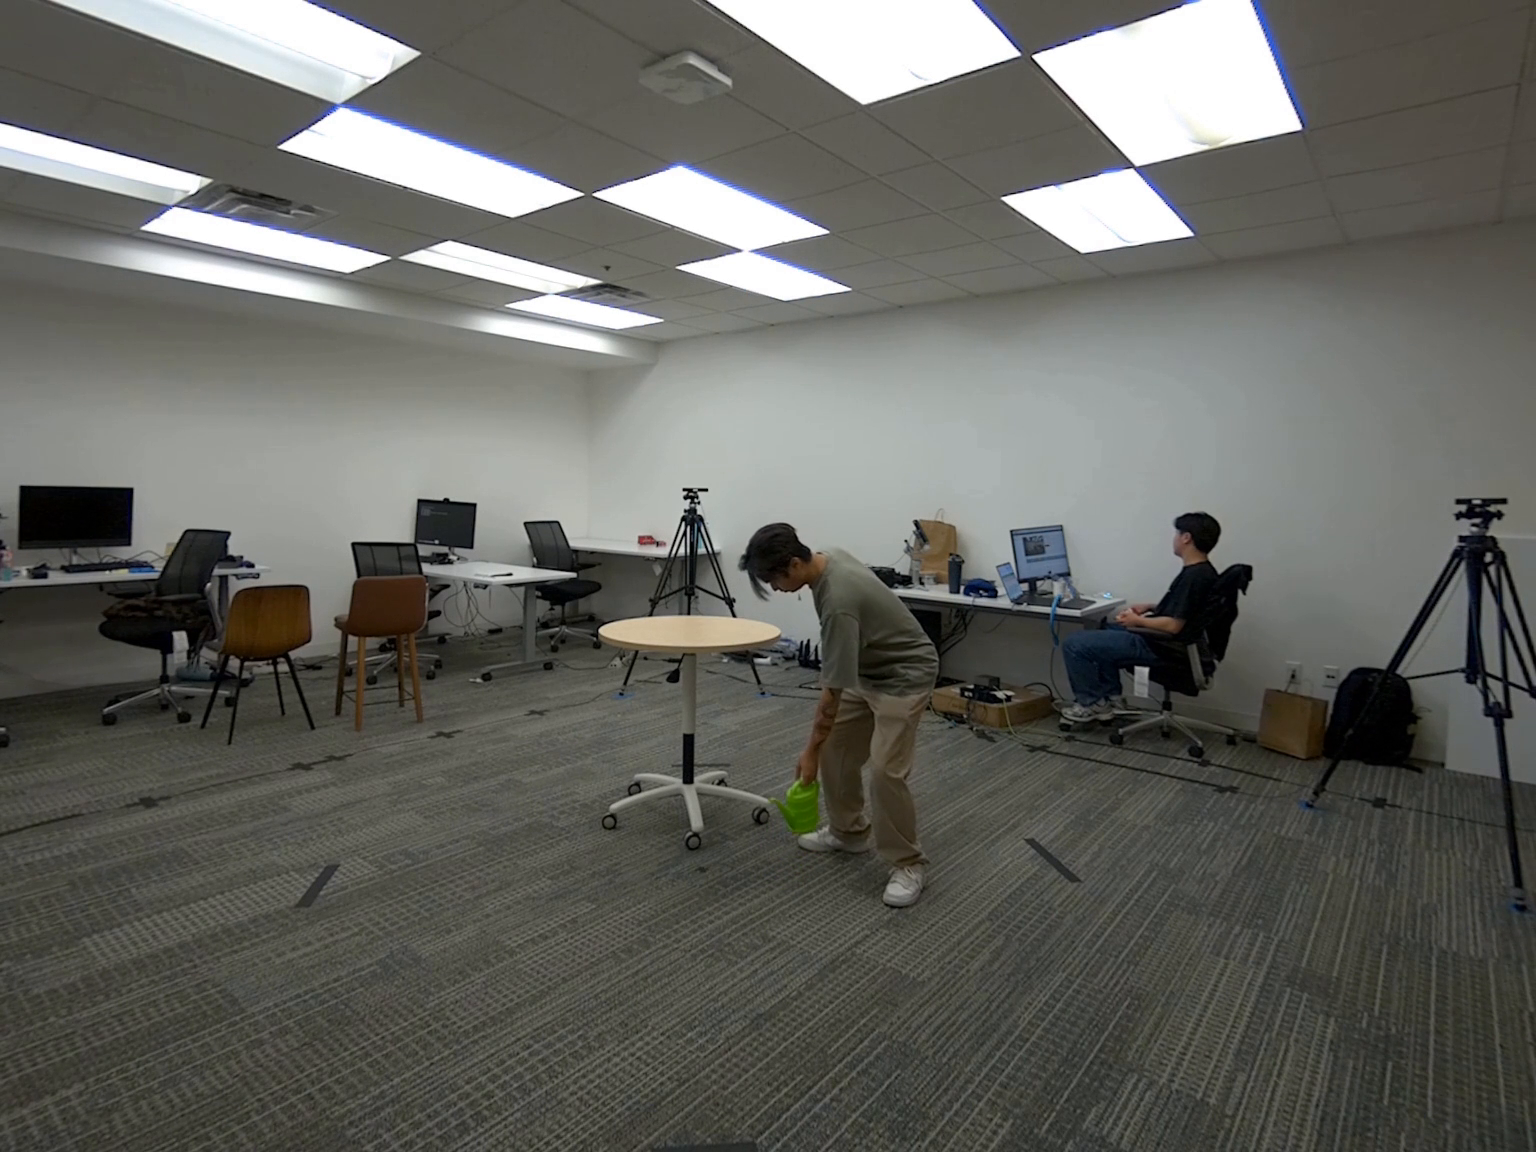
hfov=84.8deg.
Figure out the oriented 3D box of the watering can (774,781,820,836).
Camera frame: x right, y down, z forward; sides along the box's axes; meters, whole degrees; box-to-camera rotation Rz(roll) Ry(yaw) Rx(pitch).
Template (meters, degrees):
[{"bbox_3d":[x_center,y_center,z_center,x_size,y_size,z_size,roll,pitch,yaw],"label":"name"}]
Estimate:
[{"bbox_3d":[0.083,0.801,2.971,0.271,0.175,0.101,-12,11,-35],"label":"watering can"}]
